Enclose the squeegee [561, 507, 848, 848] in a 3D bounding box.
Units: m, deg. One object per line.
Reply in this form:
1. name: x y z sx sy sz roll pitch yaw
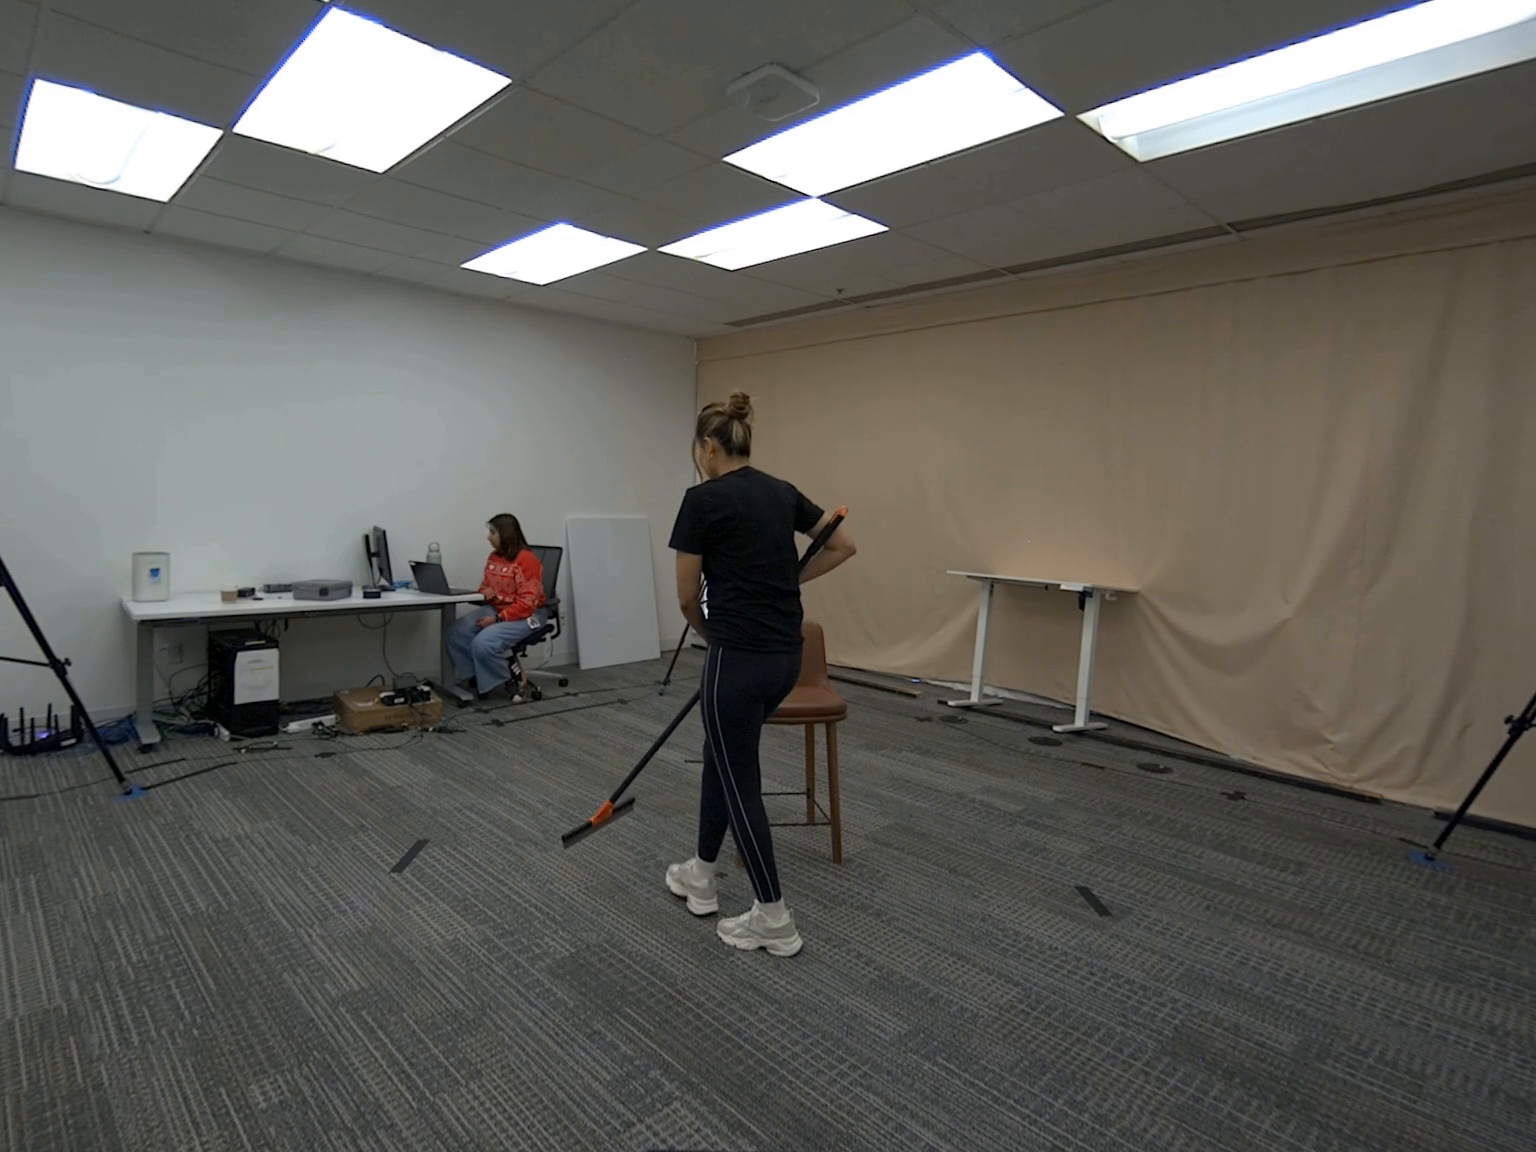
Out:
1. squeegee: -0.205 0.376 2.903 0.054 1.536 0.431 46 20 13
